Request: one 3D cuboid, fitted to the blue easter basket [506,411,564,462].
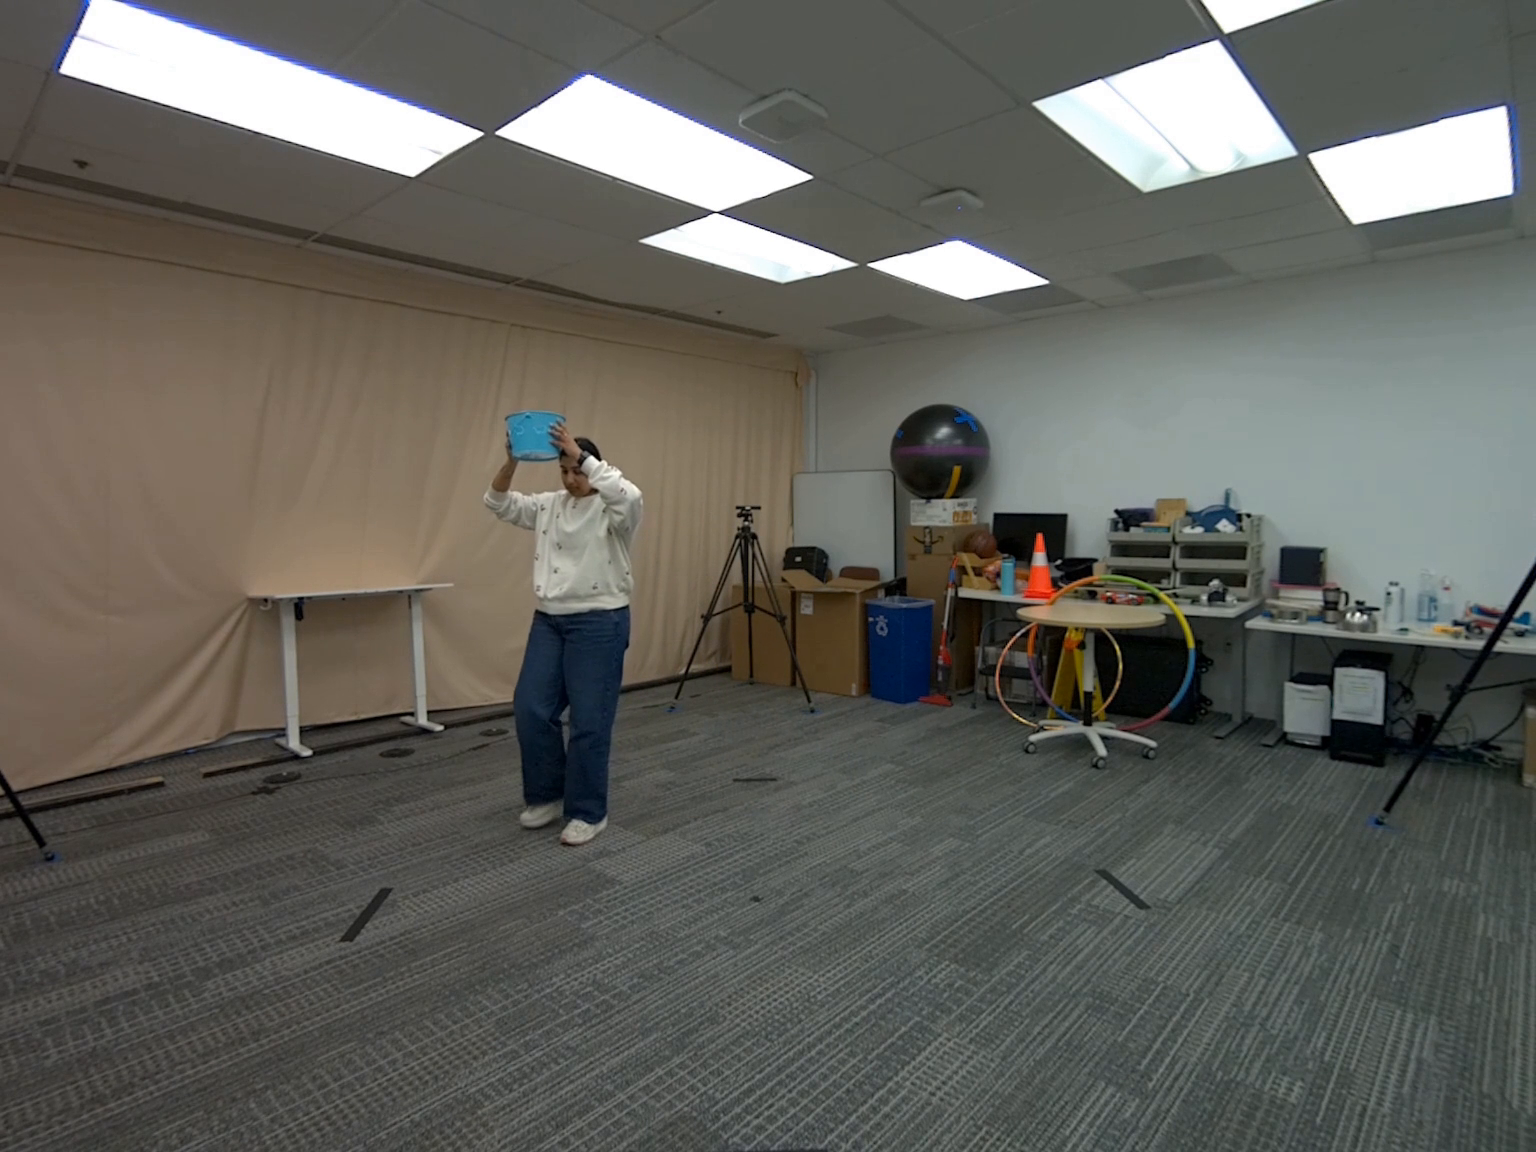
[{"bbox_3d":[-0.925,-0.545,3.304,0.243,0.156,0.243,-4,-3,-2],"label":"blue easter basket"}]
